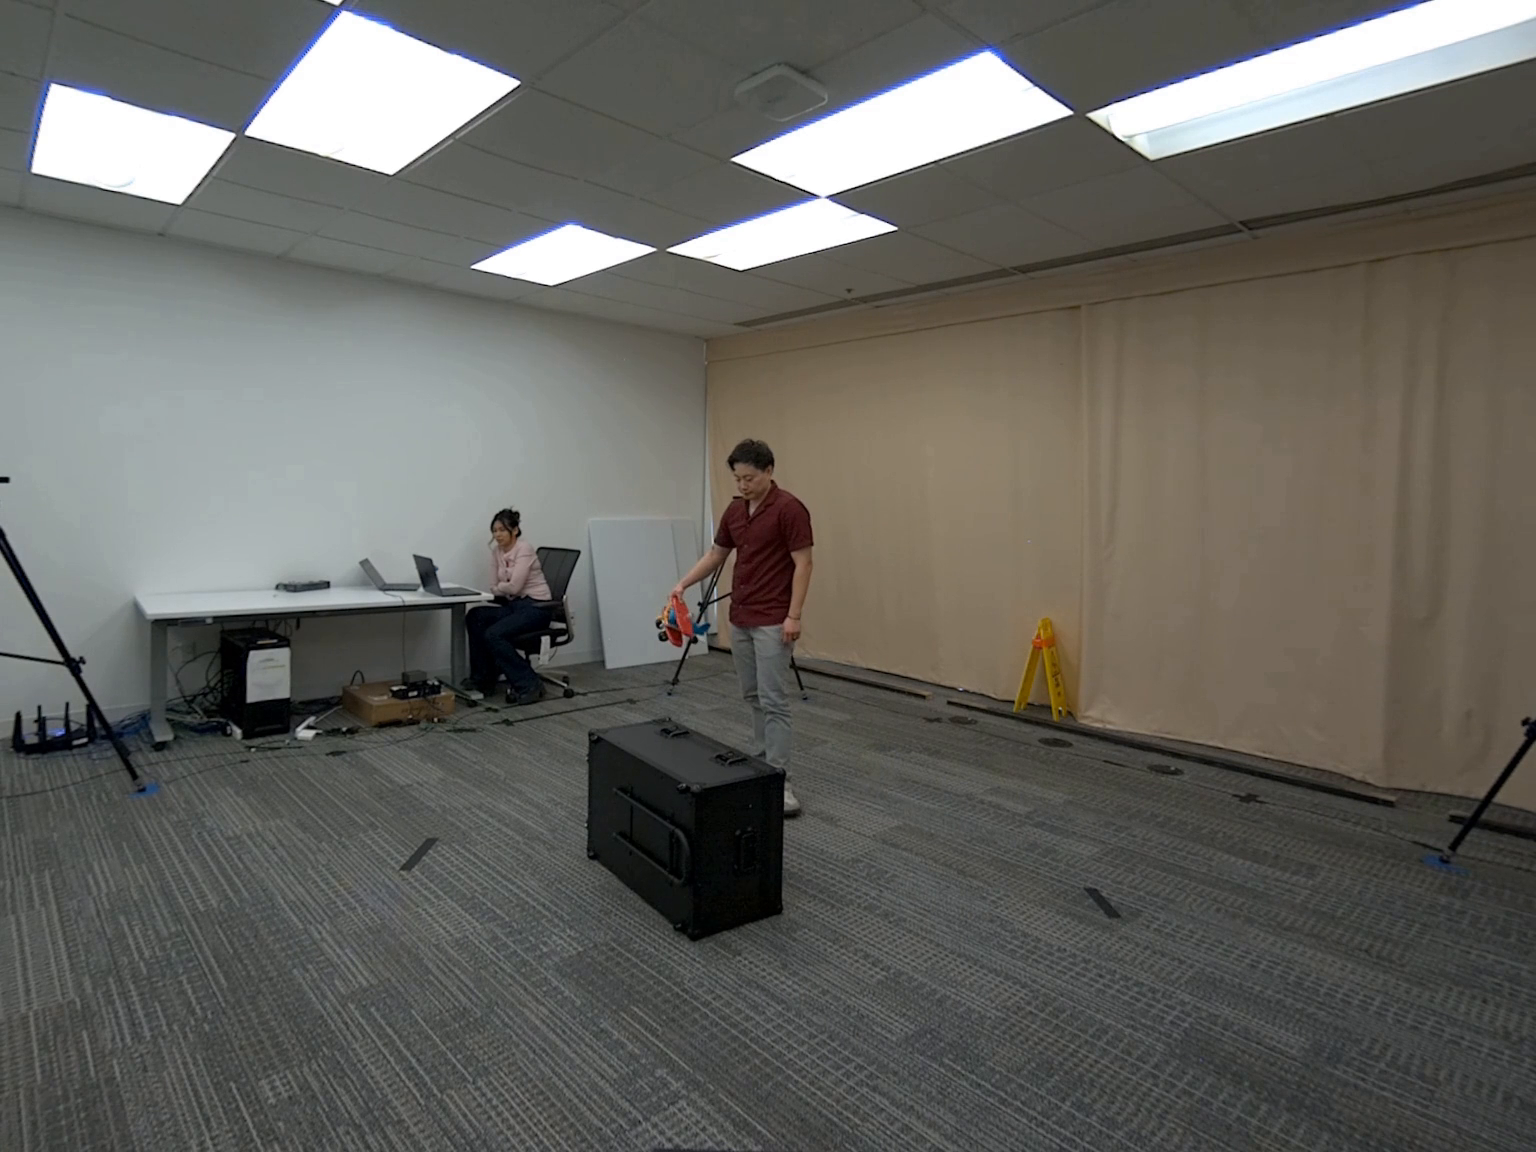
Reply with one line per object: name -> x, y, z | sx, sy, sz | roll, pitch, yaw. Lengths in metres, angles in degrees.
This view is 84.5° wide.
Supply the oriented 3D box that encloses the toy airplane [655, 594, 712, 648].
toy airplane -> -0.424, 0.220, 4.052 | 0.254, 0.155, 0.258 | -8, 48, -48
